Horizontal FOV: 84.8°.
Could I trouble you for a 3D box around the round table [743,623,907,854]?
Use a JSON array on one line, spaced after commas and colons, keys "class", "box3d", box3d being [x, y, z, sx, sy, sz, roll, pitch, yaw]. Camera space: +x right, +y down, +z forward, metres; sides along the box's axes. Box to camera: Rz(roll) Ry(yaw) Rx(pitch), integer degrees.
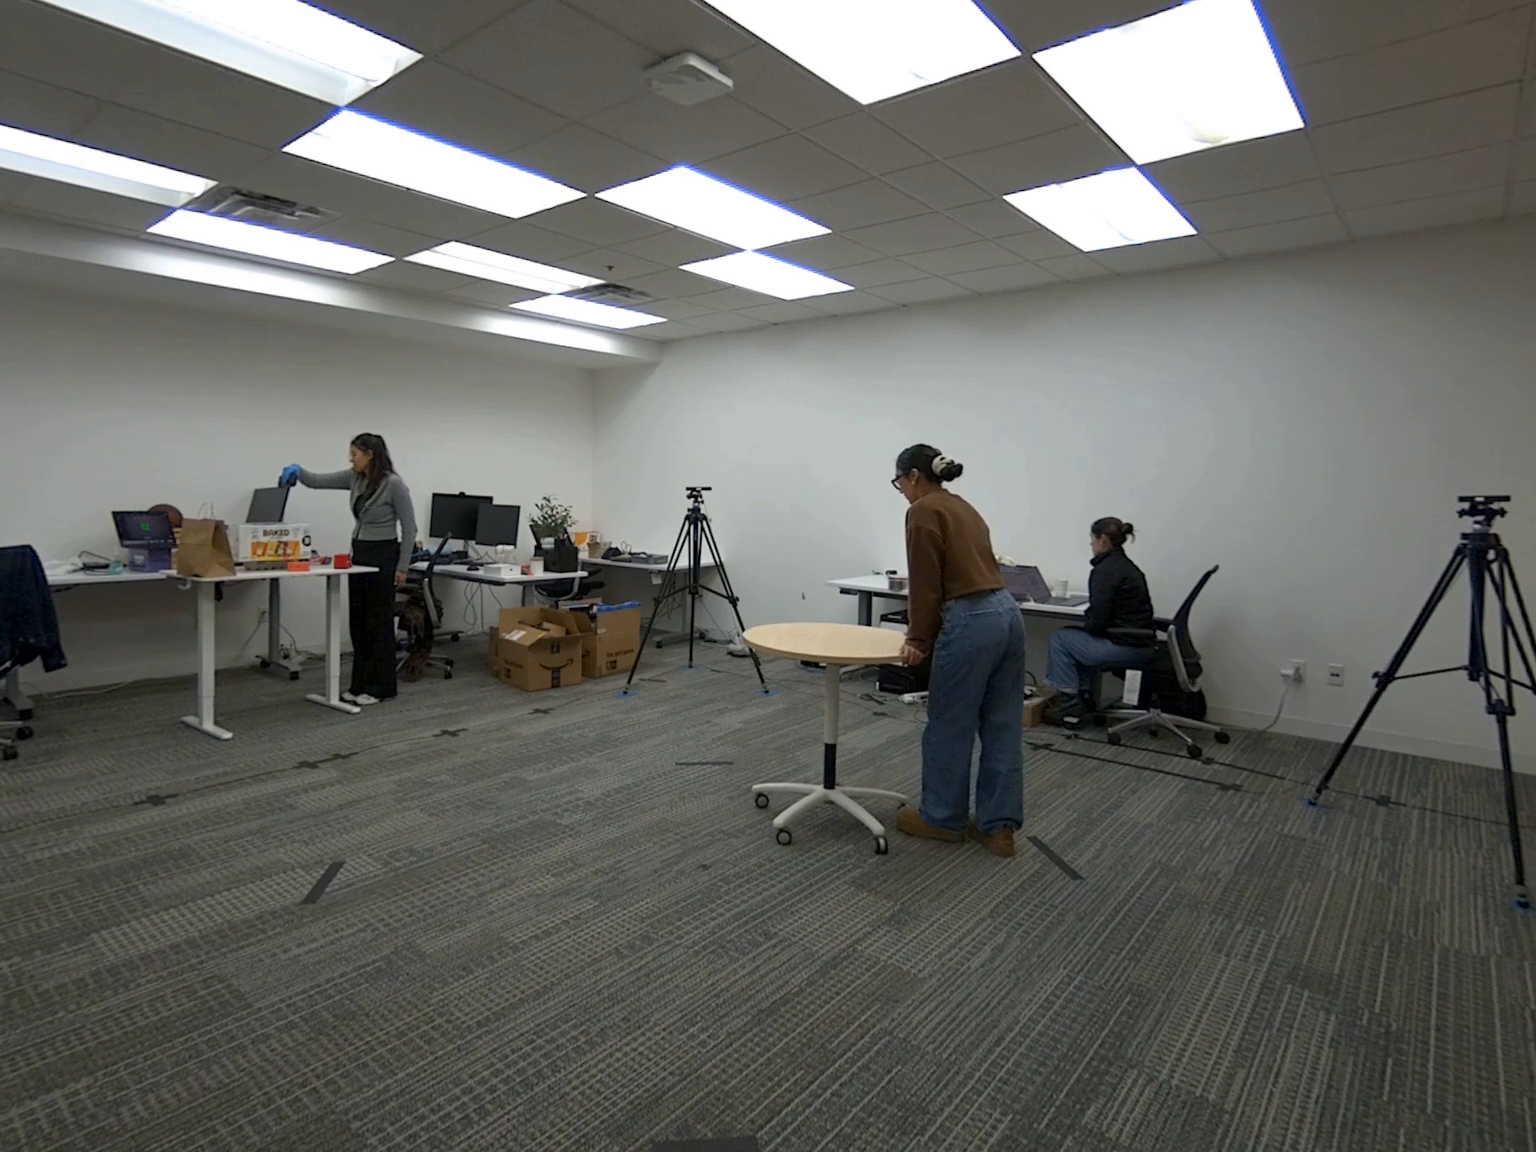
[{"class": "round table", "box3d": [0.257, 0.644, 3.571, 0.763, 0.791, 0.768, 2, 5, -2]}]
